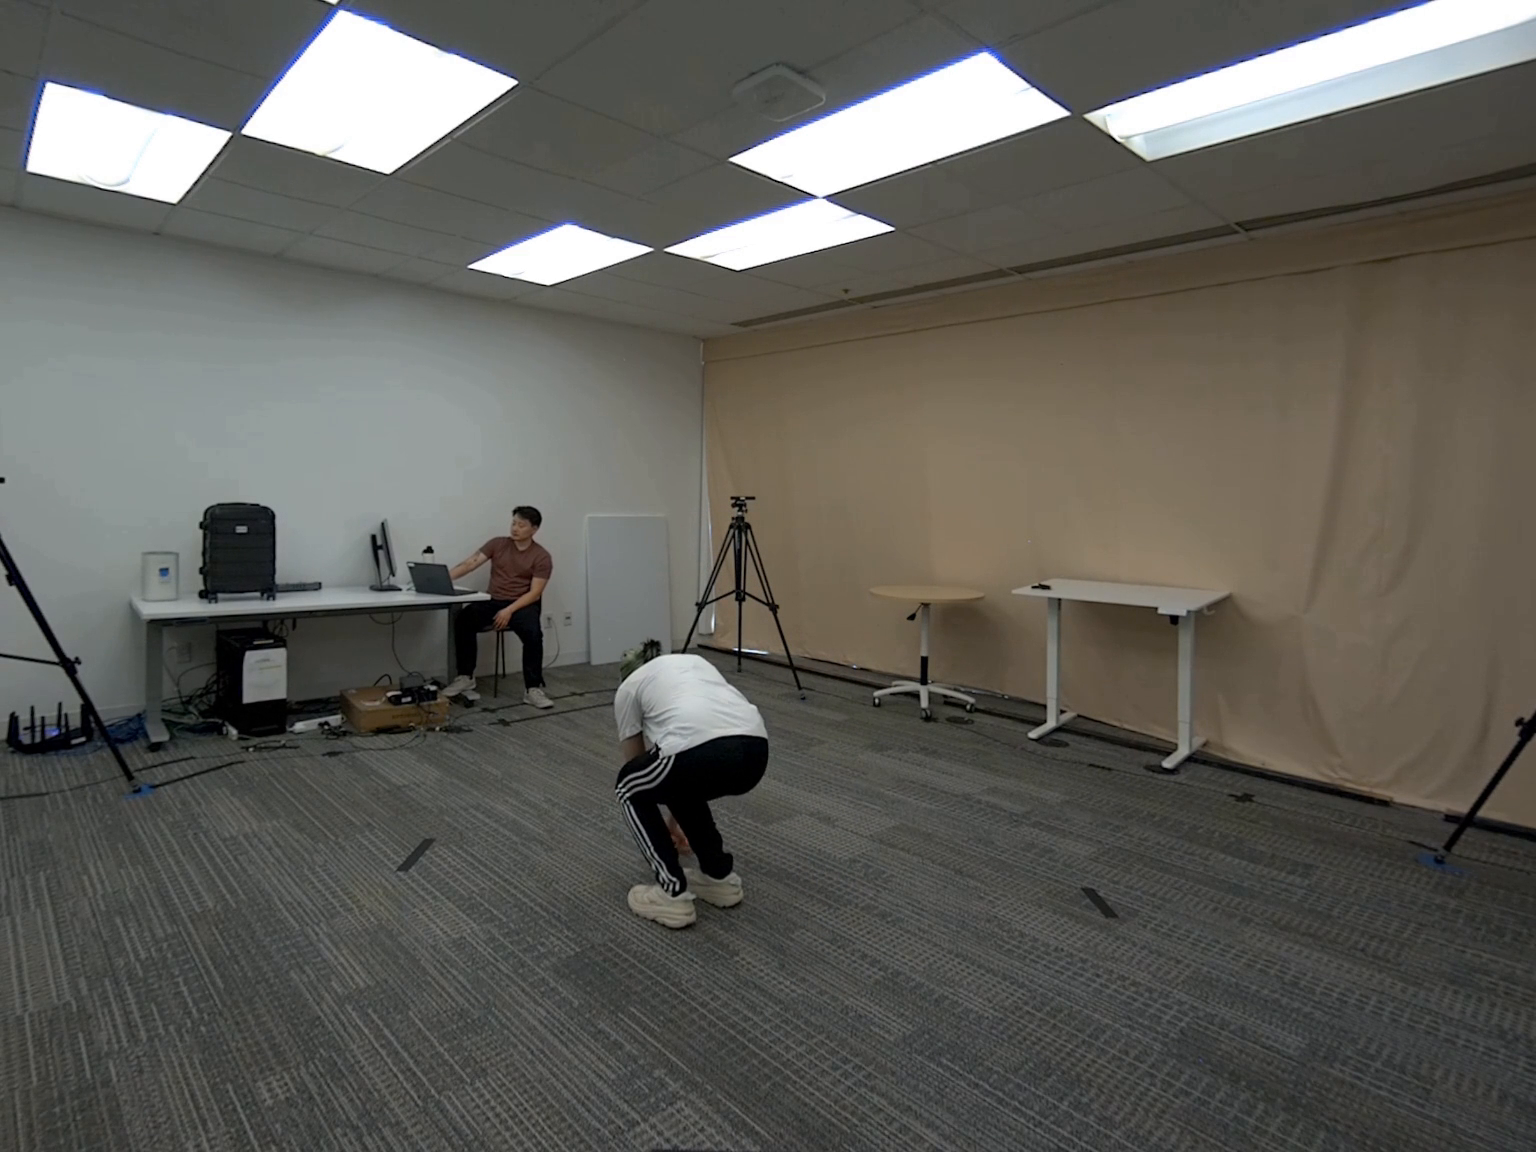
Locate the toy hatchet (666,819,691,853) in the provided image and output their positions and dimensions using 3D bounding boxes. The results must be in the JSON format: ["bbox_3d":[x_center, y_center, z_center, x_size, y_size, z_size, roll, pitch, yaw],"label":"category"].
[{"bbox_3d":[-0.342,1.041,3.213,0.130,0.029,0.272,17,3,-7],"label":"toy hatchet"}]
